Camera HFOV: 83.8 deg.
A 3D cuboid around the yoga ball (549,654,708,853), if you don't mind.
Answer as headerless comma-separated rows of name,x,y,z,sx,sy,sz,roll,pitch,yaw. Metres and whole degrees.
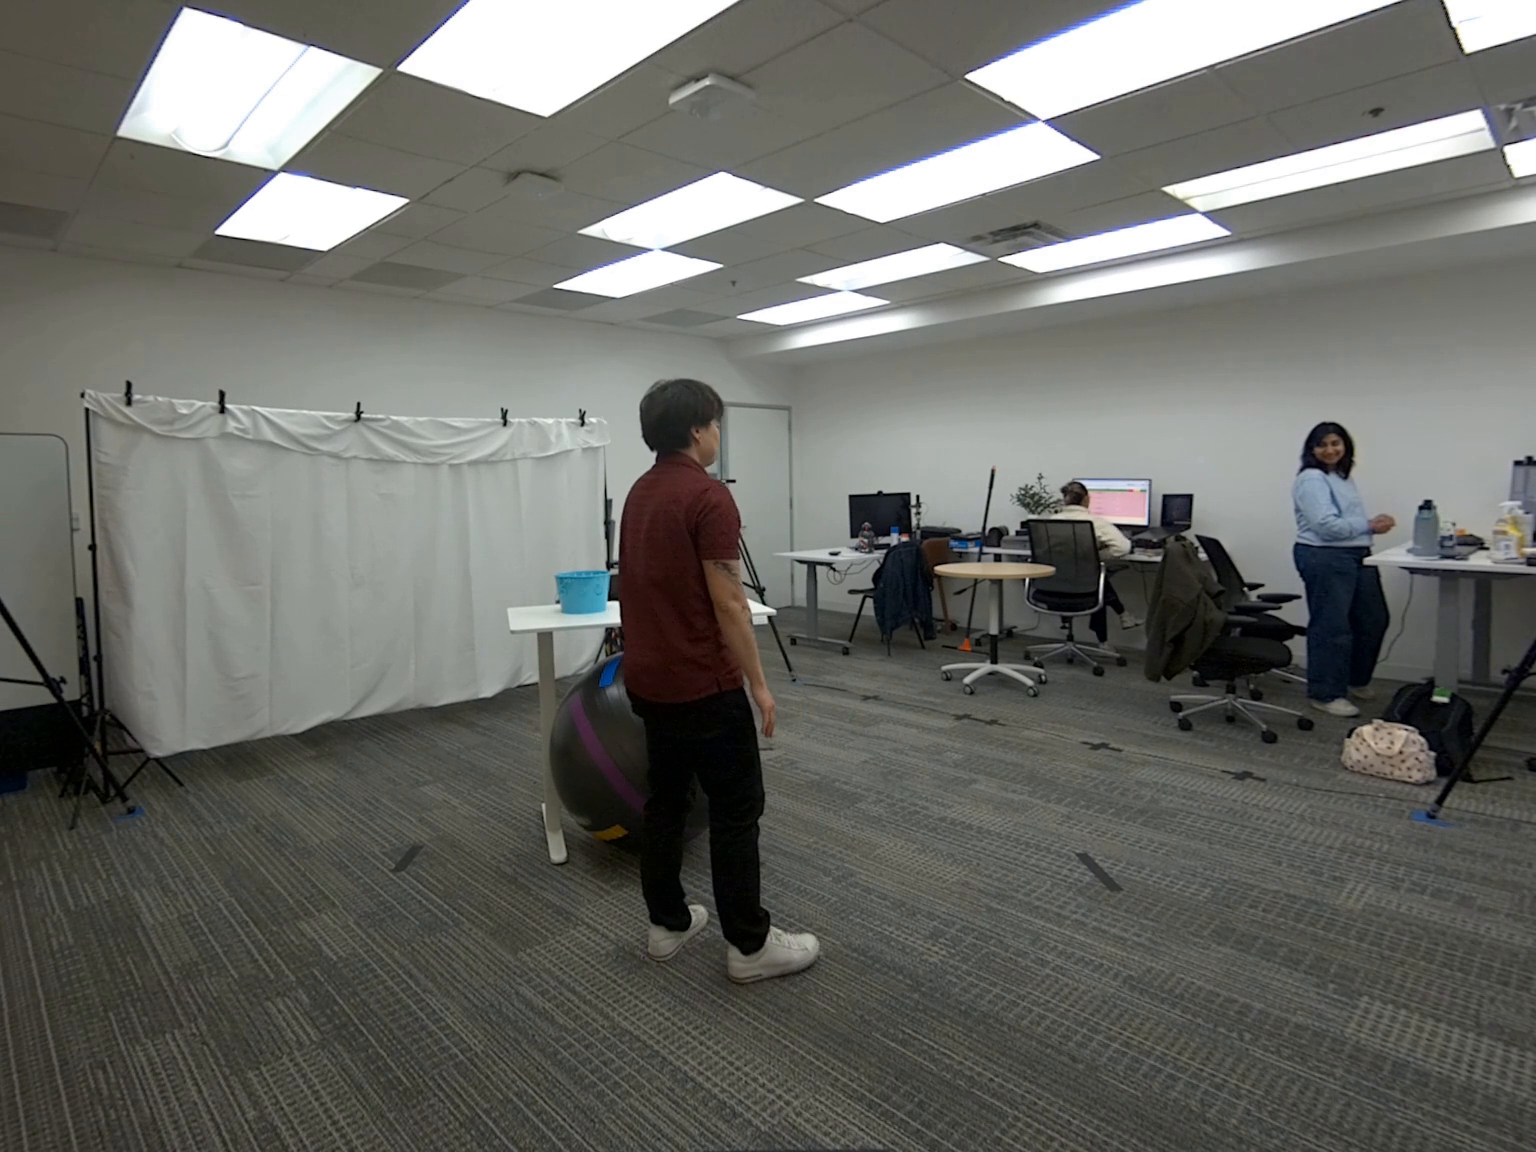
yoga ball,-0.461,0.660,3.298,0.757,0.755,0.762,-1,5,-2
